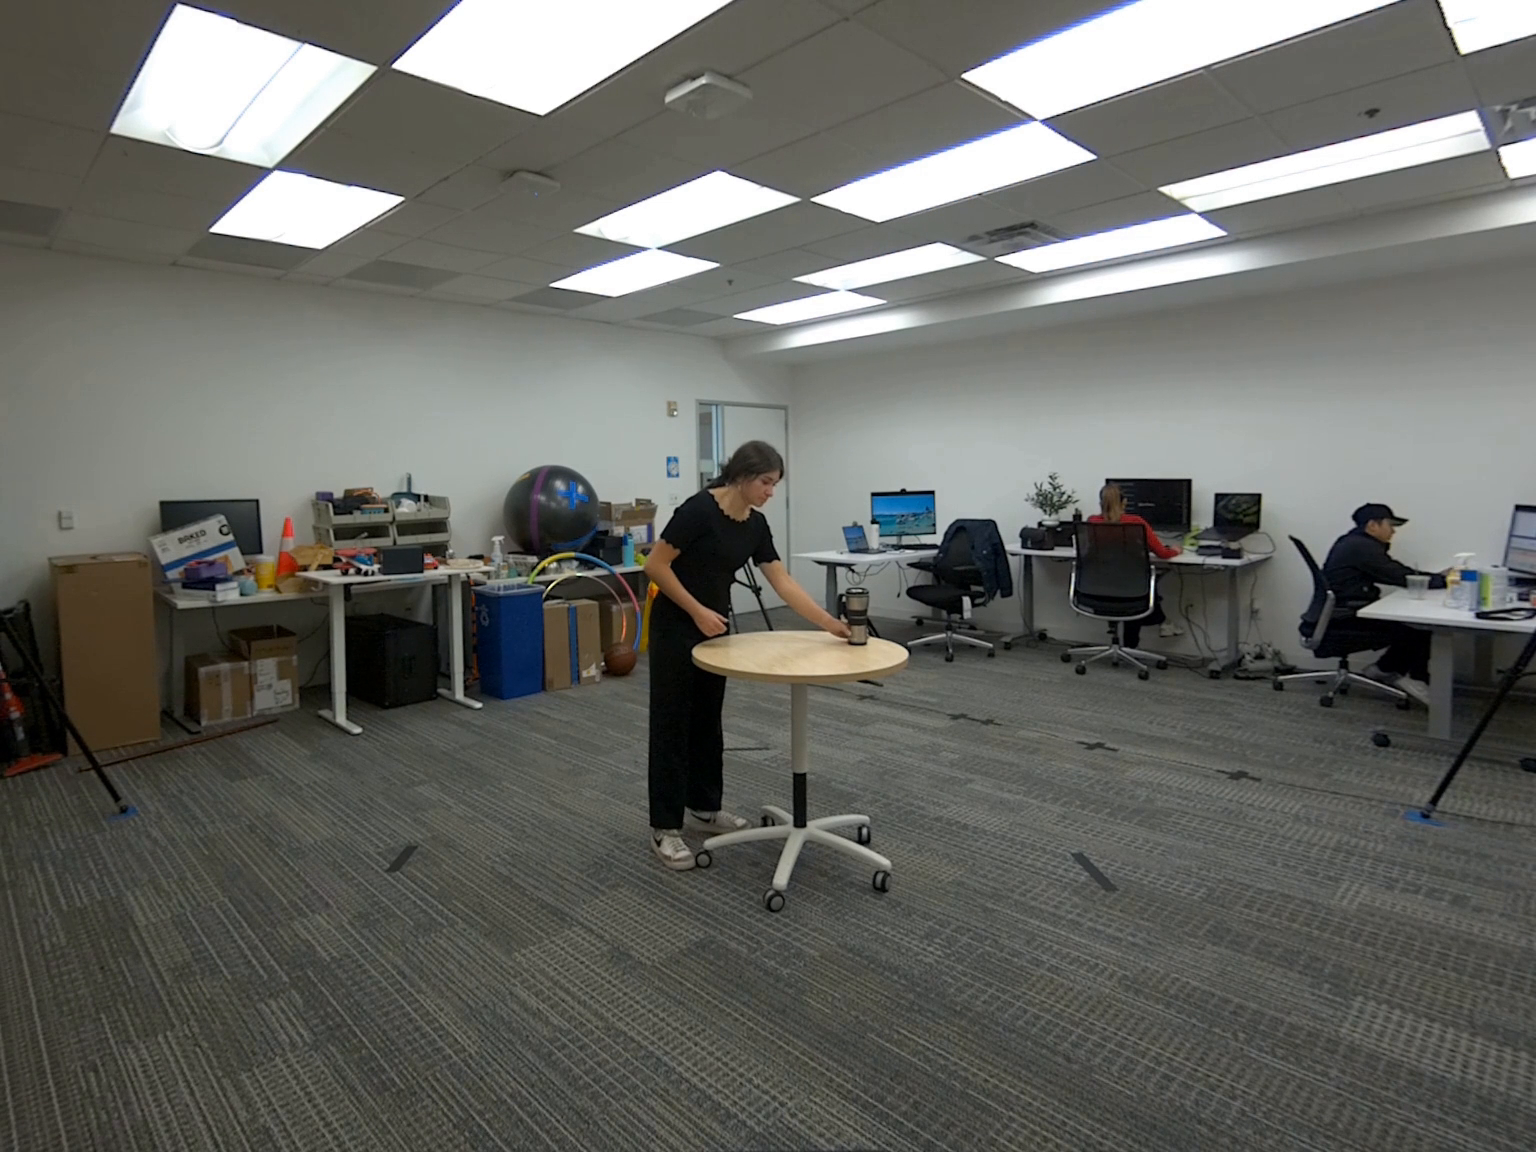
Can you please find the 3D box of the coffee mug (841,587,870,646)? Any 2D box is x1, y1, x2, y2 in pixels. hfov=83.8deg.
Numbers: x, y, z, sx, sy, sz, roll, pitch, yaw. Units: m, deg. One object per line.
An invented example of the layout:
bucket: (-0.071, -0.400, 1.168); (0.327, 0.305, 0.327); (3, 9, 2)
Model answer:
coffee mug: (0.306, 0.145, 3.164); (0.086, 0.201, 0.126); (-6, 11, -28)
